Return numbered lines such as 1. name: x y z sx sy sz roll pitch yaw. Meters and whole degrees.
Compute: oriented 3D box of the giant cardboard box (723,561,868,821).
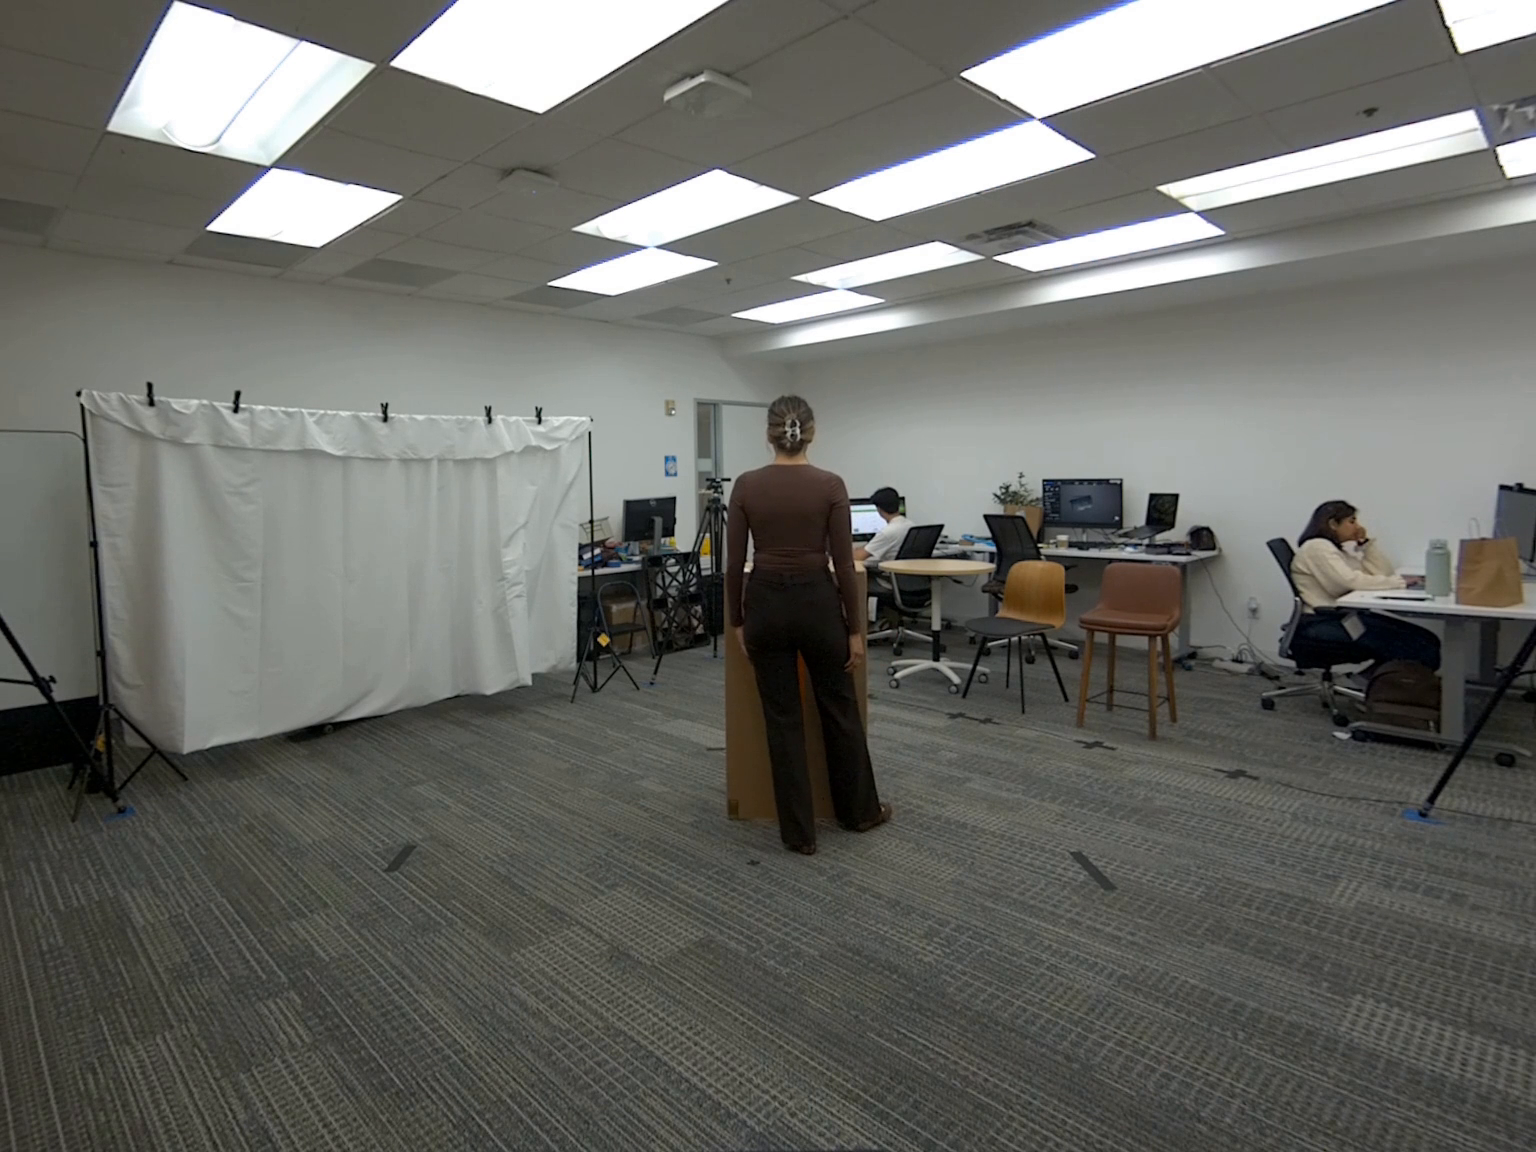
1. giant cardboard box: 0.114 0.462 3.664 0.587 1.023 0.447 0 4 4
